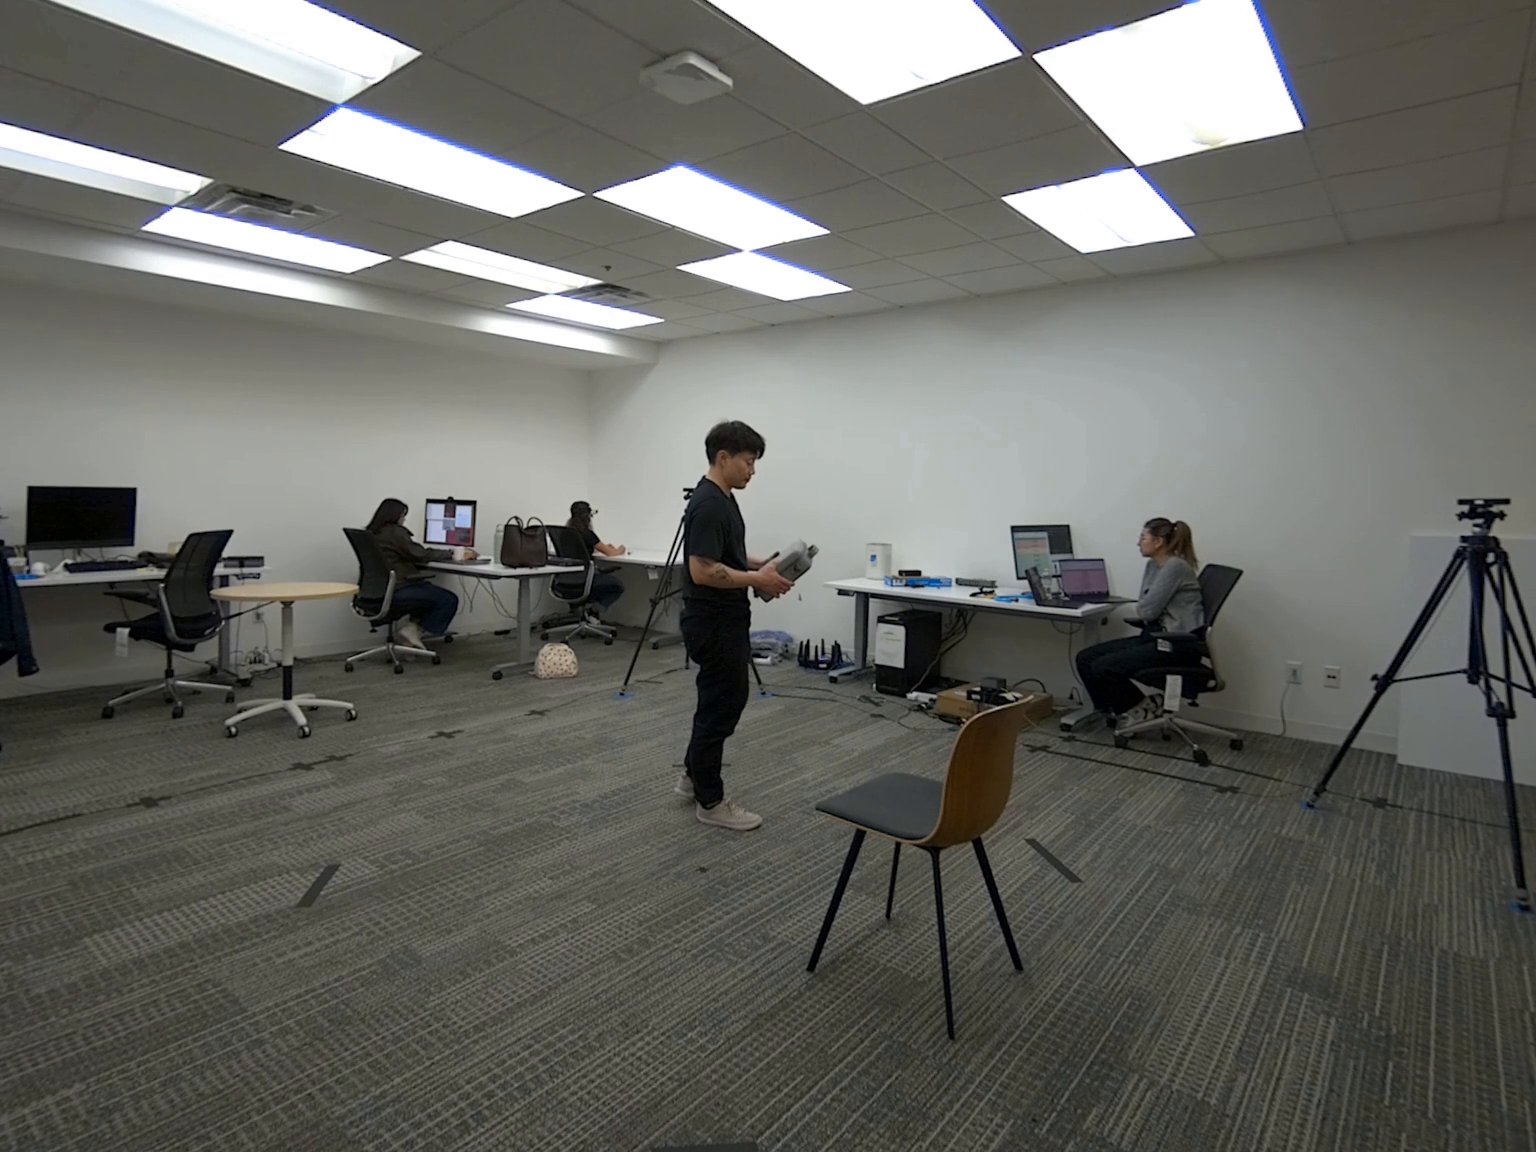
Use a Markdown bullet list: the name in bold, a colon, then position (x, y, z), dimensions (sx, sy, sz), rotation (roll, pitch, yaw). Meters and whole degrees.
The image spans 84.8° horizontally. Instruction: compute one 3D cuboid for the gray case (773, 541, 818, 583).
- **gray case**: position (0.058, -0.030, 3.479), dimensions (0.261, 0.104, 0.258), rotation (-39, 7, 15)
